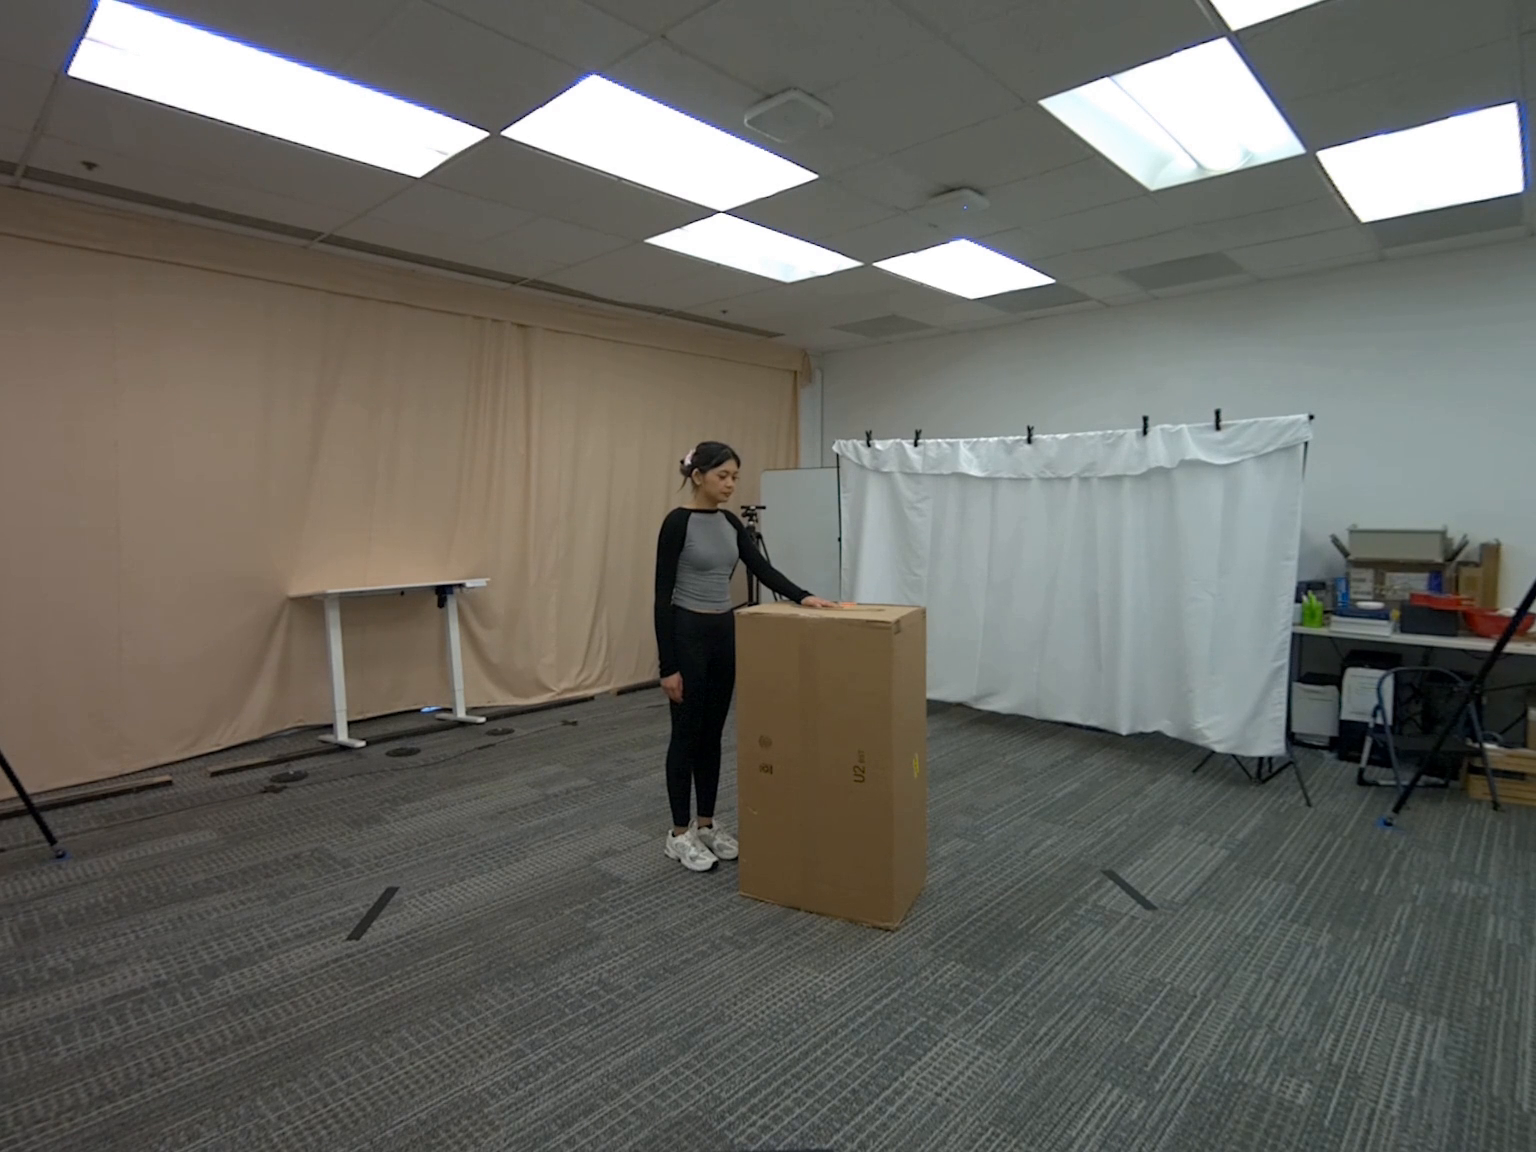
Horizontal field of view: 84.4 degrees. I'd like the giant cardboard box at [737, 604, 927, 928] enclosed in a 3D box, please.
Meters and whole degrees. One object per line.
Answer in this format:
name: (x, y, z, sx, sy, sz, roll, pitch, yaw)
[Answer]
giant cardboard box: (0.245, 0.633, 3.039, 0.599, 1.024, 0.436, 1, 4, 26)
